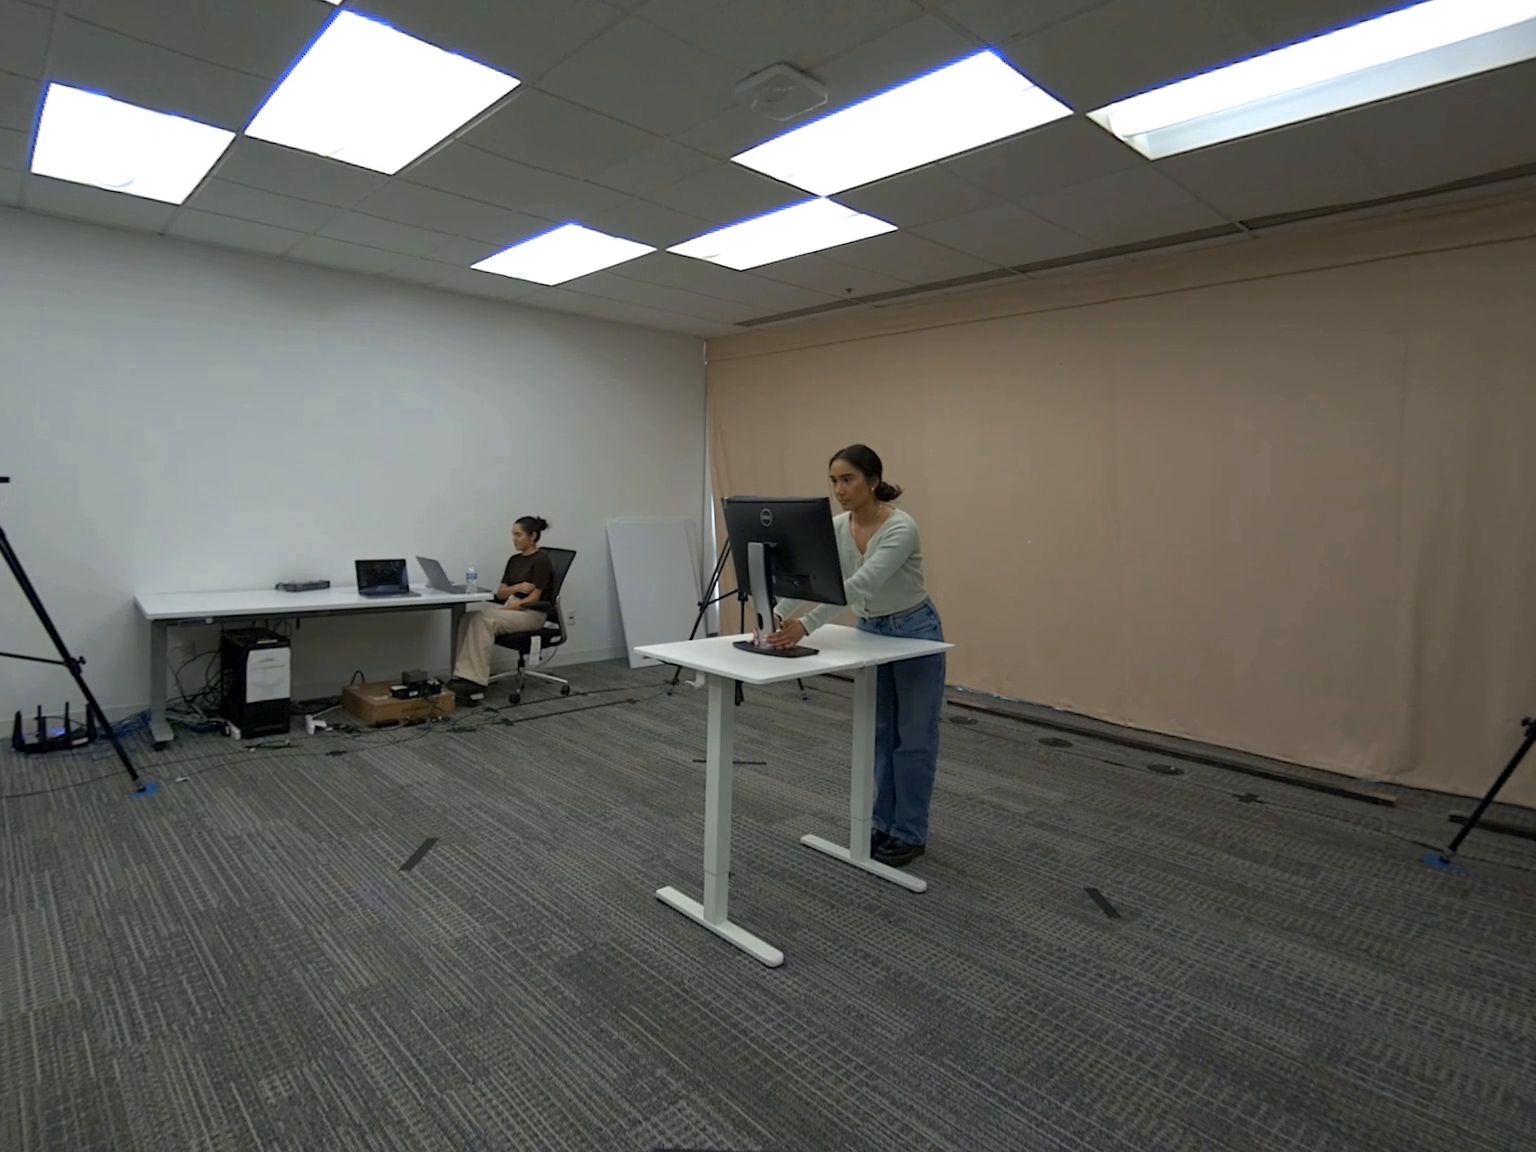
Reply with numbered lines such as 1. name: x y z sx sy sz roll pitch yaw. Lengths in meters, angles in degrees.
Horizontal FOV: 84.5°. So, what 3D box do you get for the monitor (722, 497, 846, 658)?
1. monitor: 0.014 -0.001 2.797 0.183 0.521 0.553 -3 5 -40
